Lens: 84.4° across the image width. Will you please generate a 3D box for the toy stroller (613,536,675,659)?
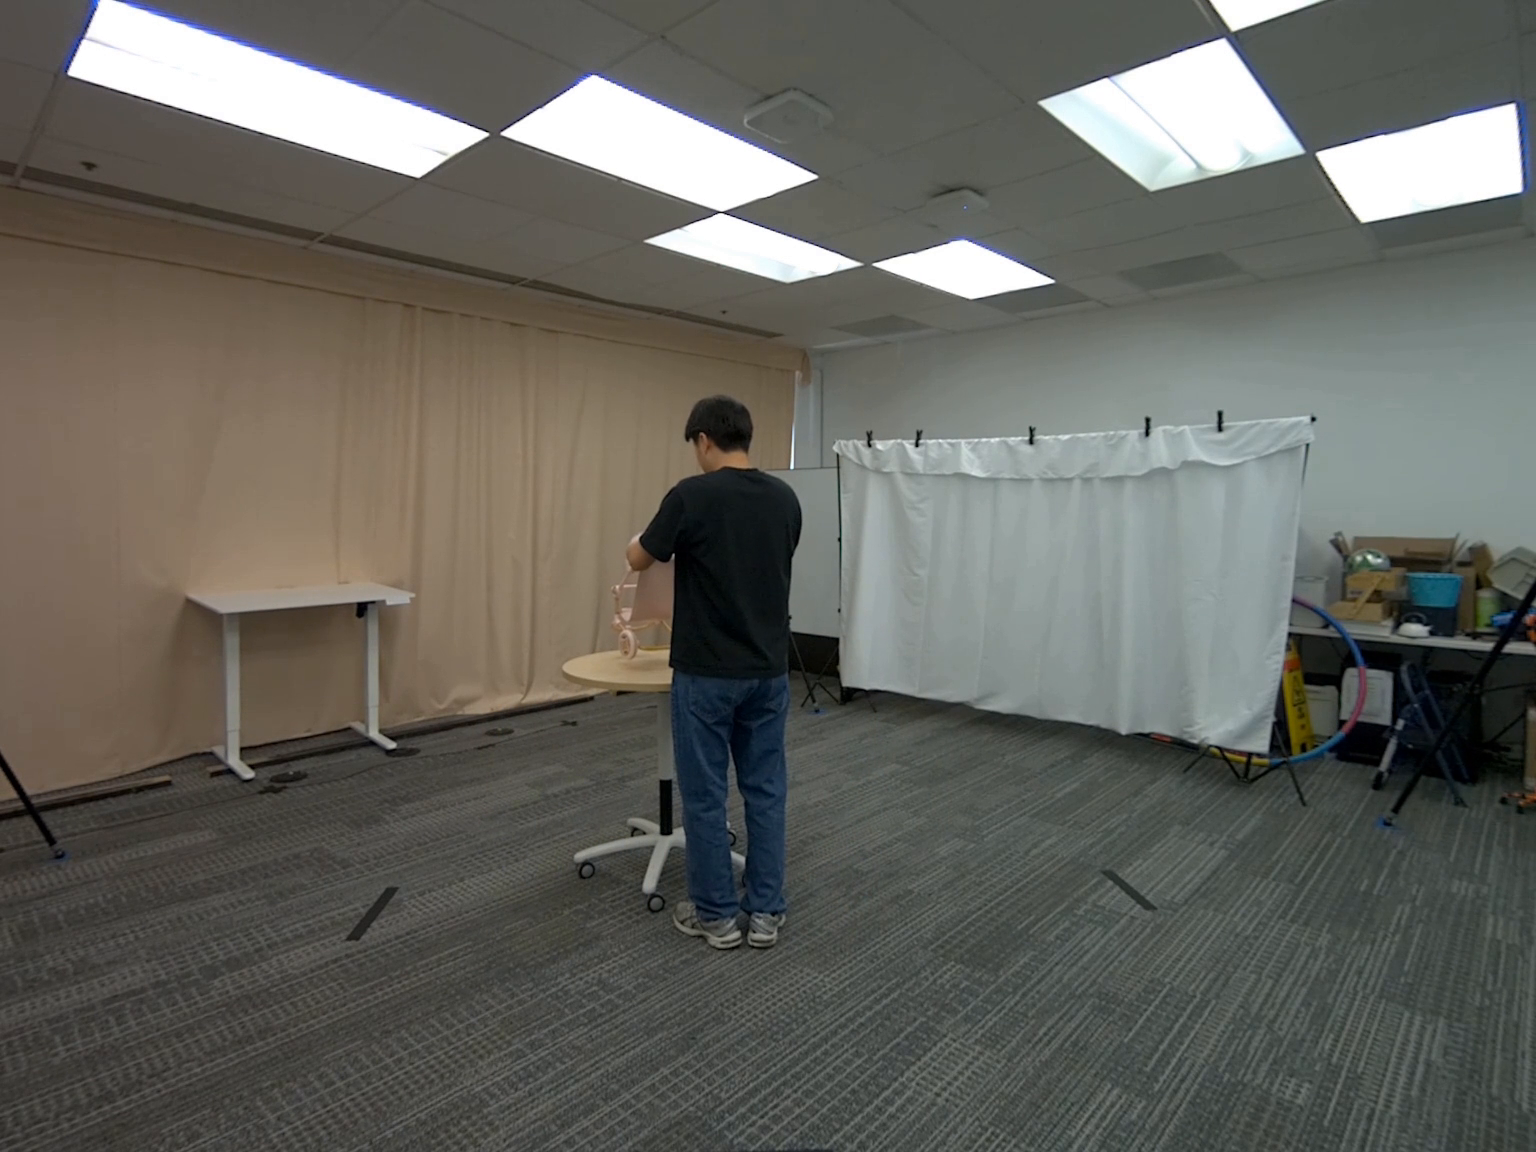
[{"bbox_3d":[-0.446,0.074,3.209,0.274,0.532,0.353,1,13,-30],"label":"toy stroller"}]
